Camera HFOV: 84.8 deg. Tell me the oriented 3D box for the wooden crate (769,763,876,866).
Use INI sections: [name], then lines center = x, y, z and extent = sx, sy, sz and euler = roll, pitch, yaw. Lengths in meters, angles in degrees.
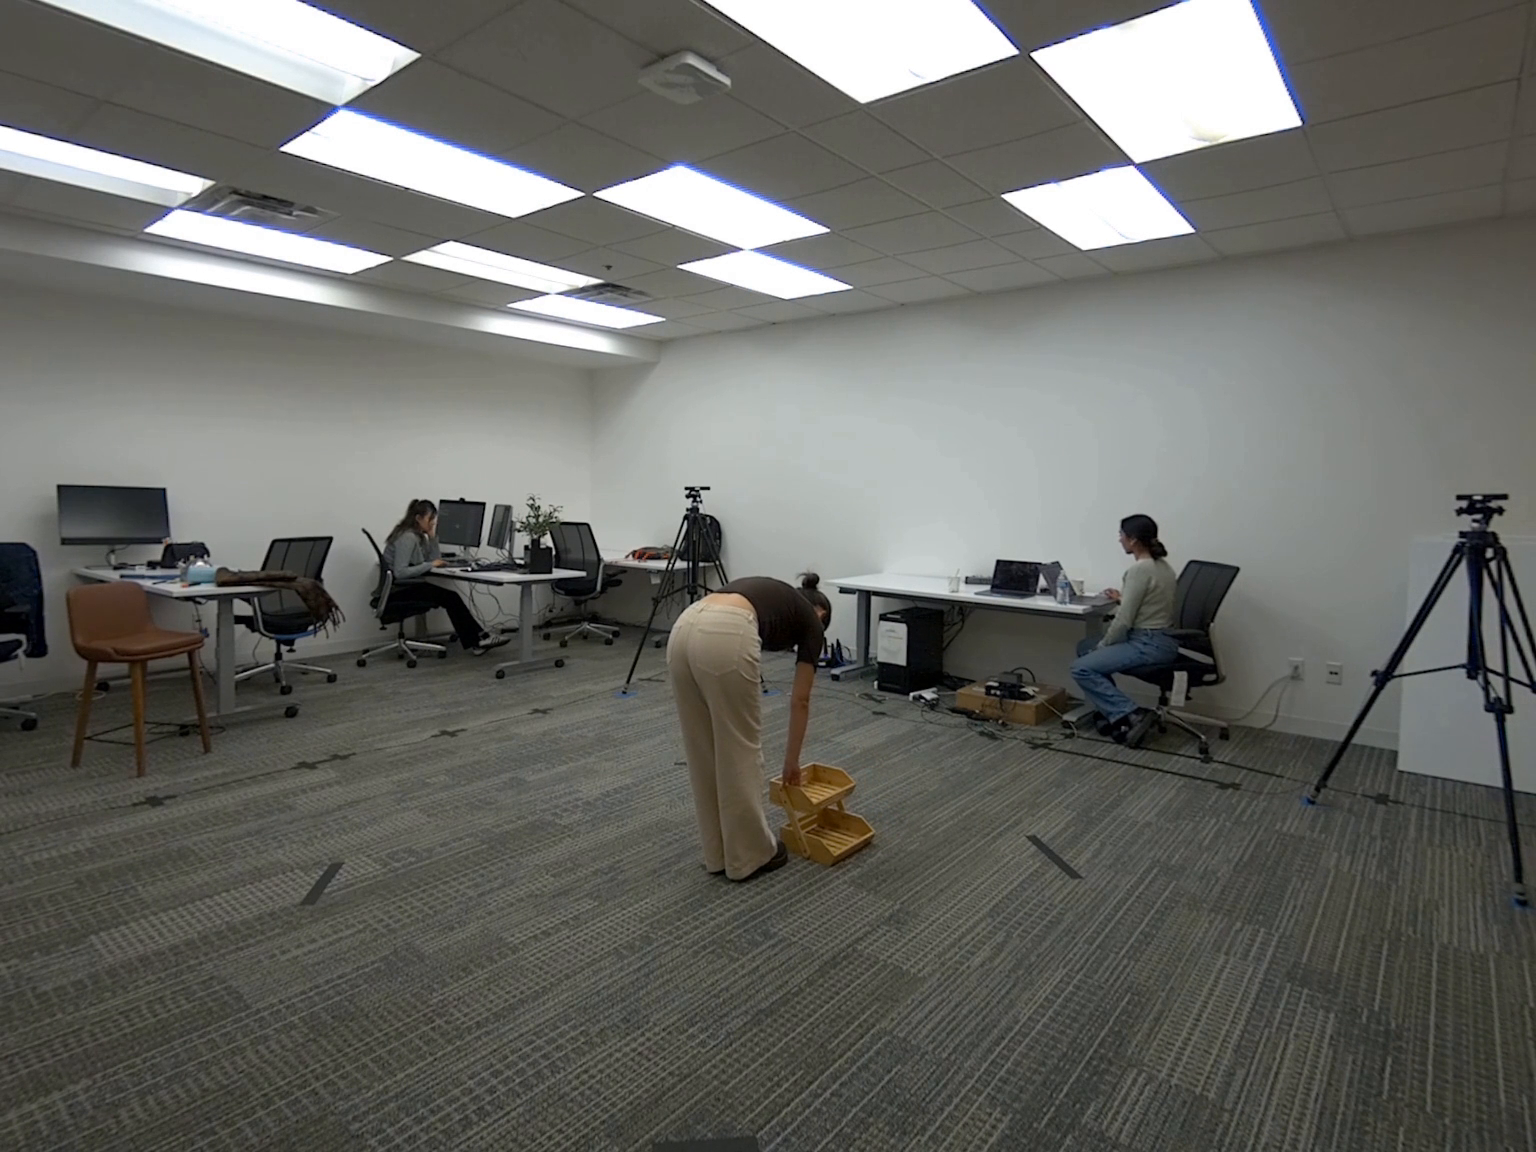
[wooden crate]
center = 0.208, 0.914, 3.326
extent = 0.312, 0.272, 0.315
euler = 3, 5, 39
